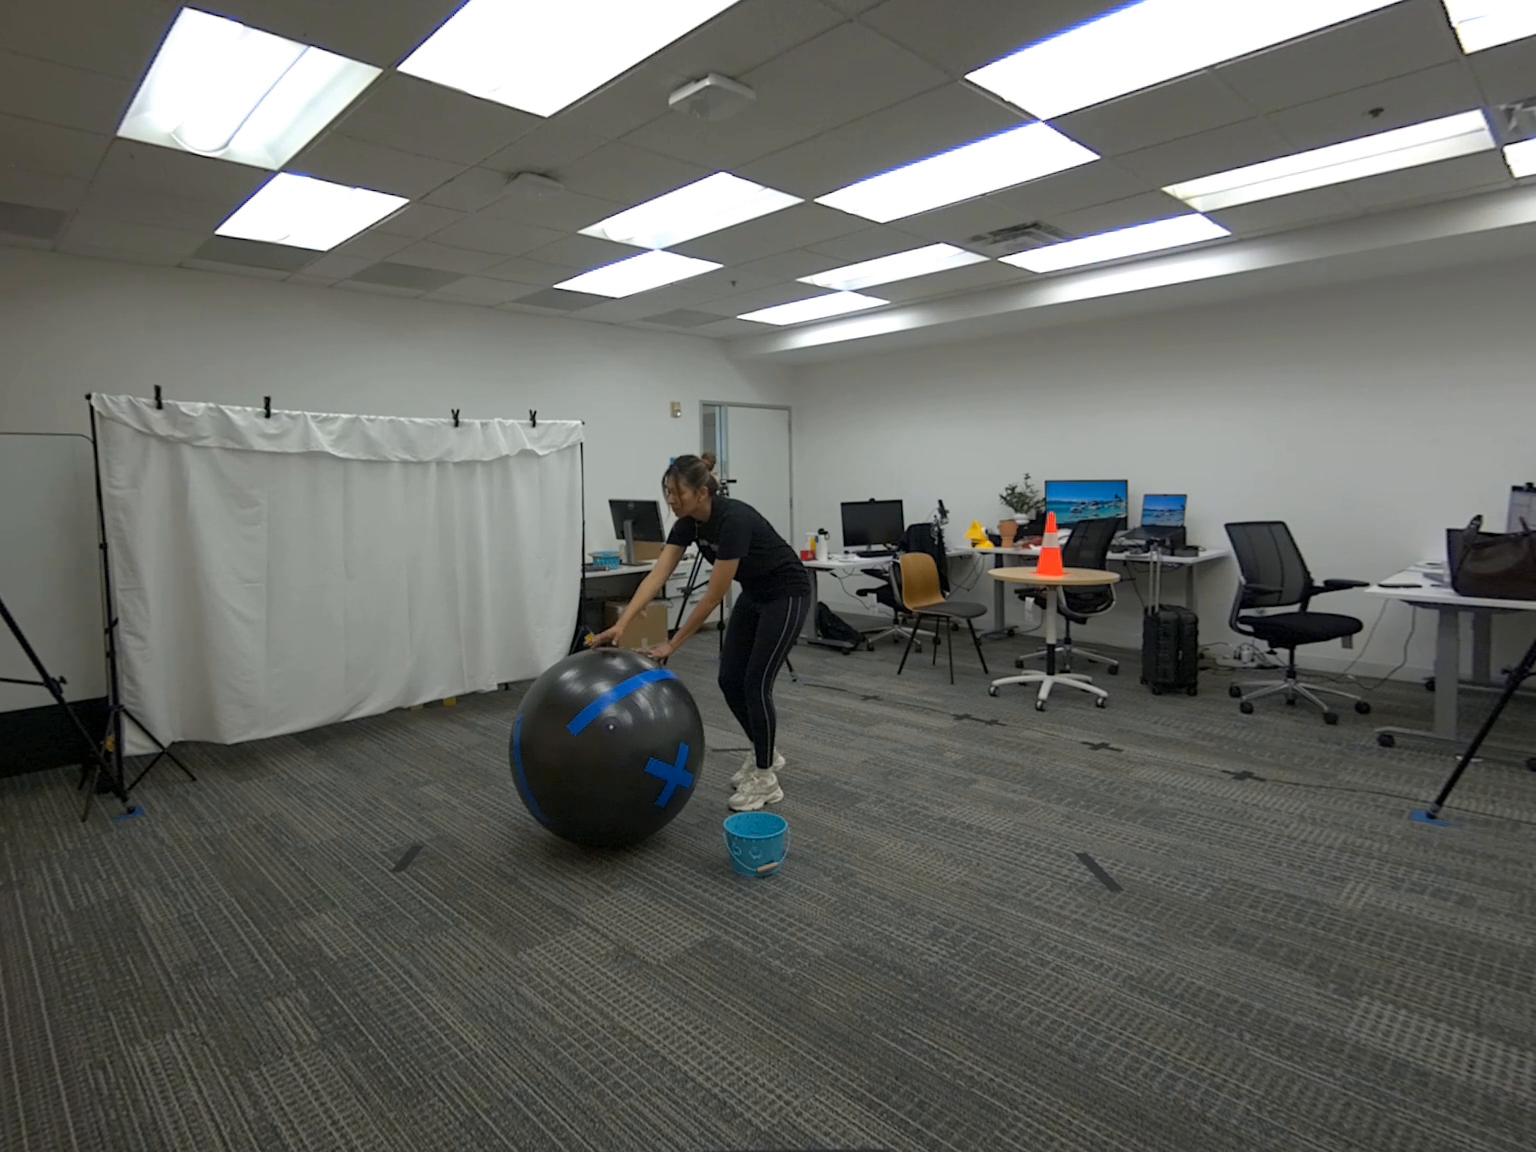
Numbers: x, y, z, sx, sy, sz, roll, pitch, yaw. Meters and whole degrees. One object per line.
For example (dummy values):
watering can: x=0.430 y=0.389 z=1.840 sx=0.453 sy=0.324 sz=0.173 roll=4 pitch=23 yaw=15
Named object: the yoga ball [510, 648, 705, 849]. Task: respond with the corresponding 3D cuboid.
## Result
yoga ball: x=-0.625 y=0.662 z=3.345 sx=0.757 sy=0.755 sz=0.762 roll=-1 pitch=5 yaw=-2
